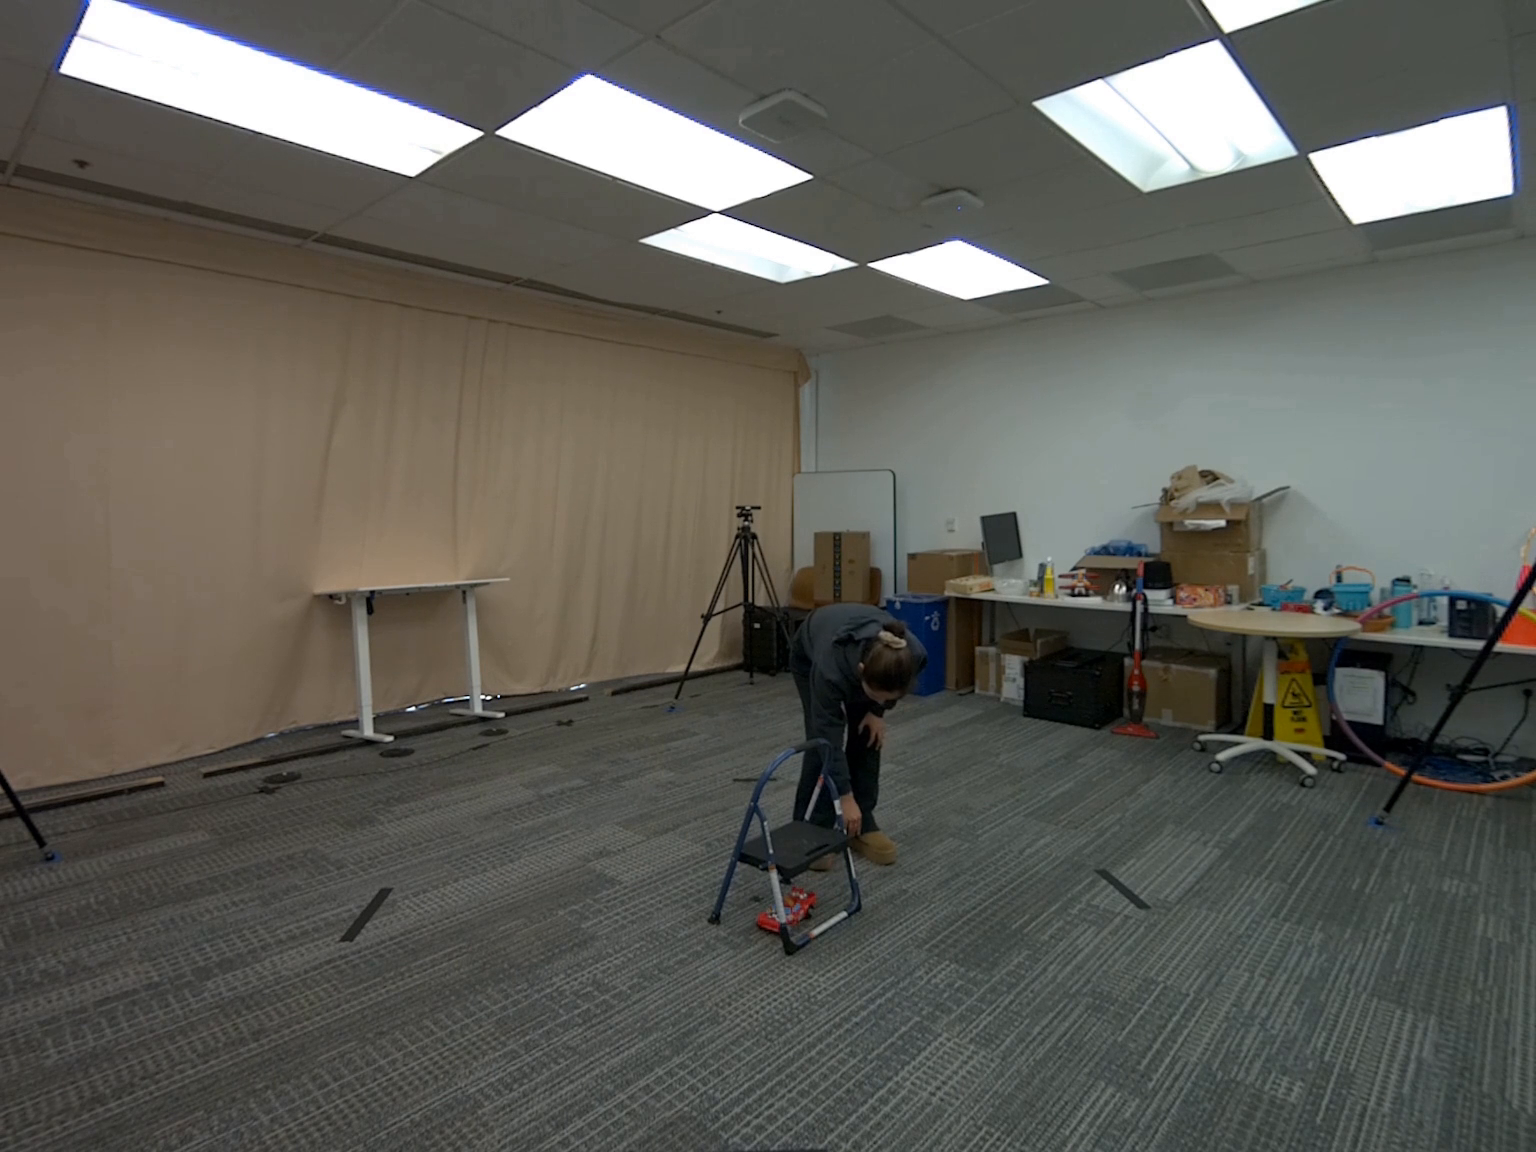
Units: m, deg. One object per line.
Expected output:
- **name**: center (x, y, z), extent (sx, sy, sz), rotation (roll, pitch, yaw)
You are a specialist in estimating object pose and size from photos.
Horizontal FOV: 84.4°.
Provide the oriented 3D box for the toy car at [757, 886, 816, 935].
- **toy car**: center (0.102, 1.125, 2.831), extent (0.134, 0.082, 0.249), rotation (2, 16, 34)
